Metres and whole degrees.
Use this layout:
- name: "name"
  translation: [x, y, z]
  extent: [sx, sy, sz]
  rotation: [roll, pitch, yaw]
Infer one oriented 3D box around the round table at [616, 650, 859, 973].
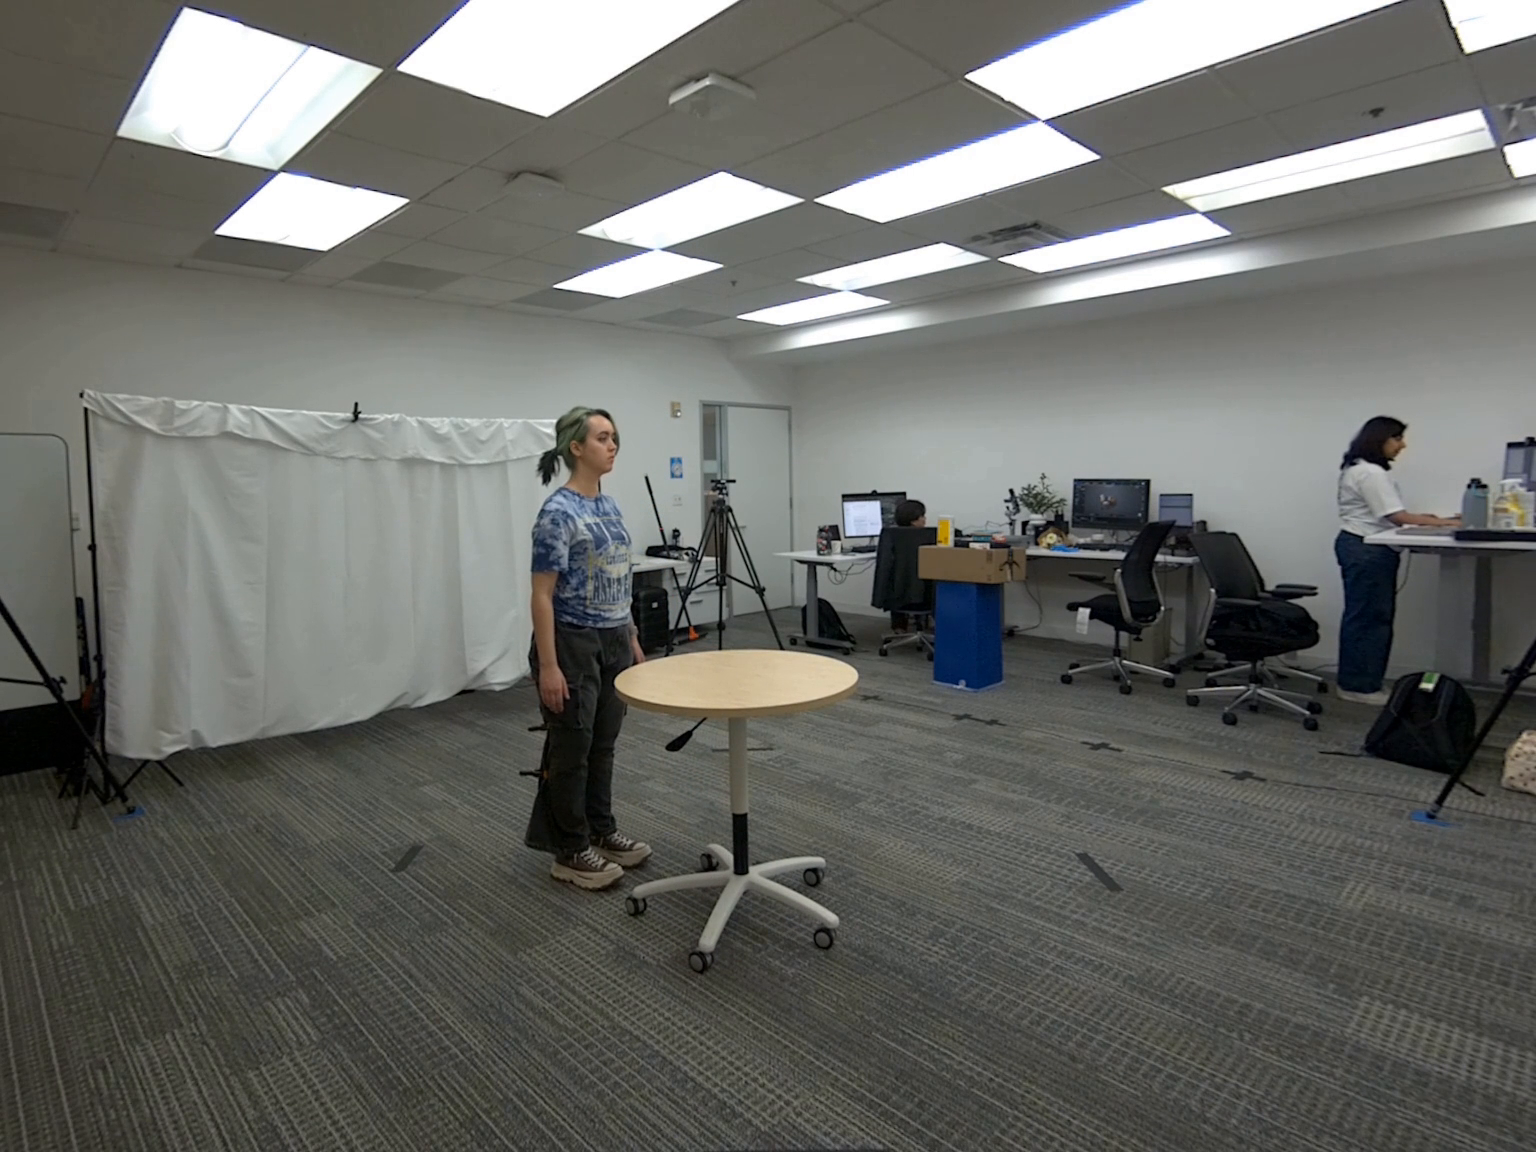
- name: "round table"
  translation: [-0.088, 0.710, 2.718]
  extent: [0.763, 0.791, 0.768]
  rotation: [-2, 5, -2]
